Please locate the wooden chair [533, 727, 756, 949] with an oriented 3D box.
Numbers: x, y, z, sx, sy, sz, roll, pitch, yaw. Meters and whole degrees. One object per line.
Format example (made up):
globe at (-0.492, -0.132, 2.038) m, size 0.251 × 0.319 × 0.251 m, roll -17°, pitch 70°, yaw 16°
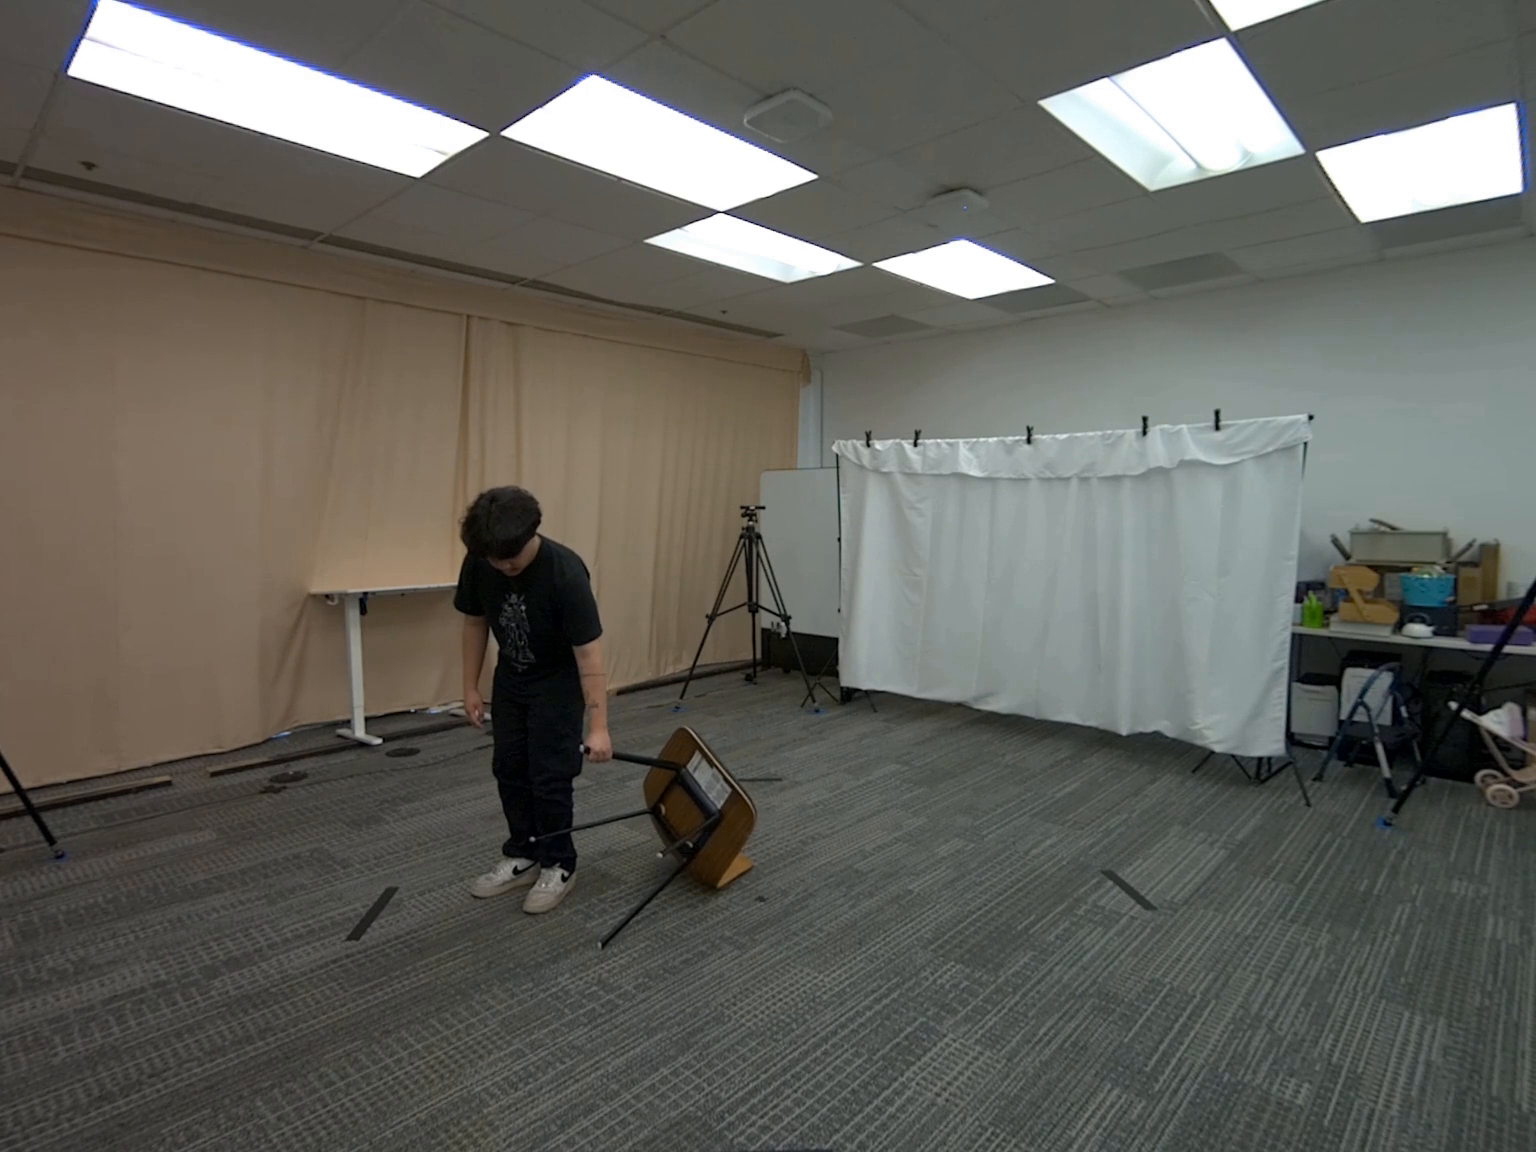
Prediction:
wooden chair at (-0.298, 0.849, 2.990) m, size 0.493 × 0.523 × 0.849 m, roll 44°, pitch 23°, yaw 29°
